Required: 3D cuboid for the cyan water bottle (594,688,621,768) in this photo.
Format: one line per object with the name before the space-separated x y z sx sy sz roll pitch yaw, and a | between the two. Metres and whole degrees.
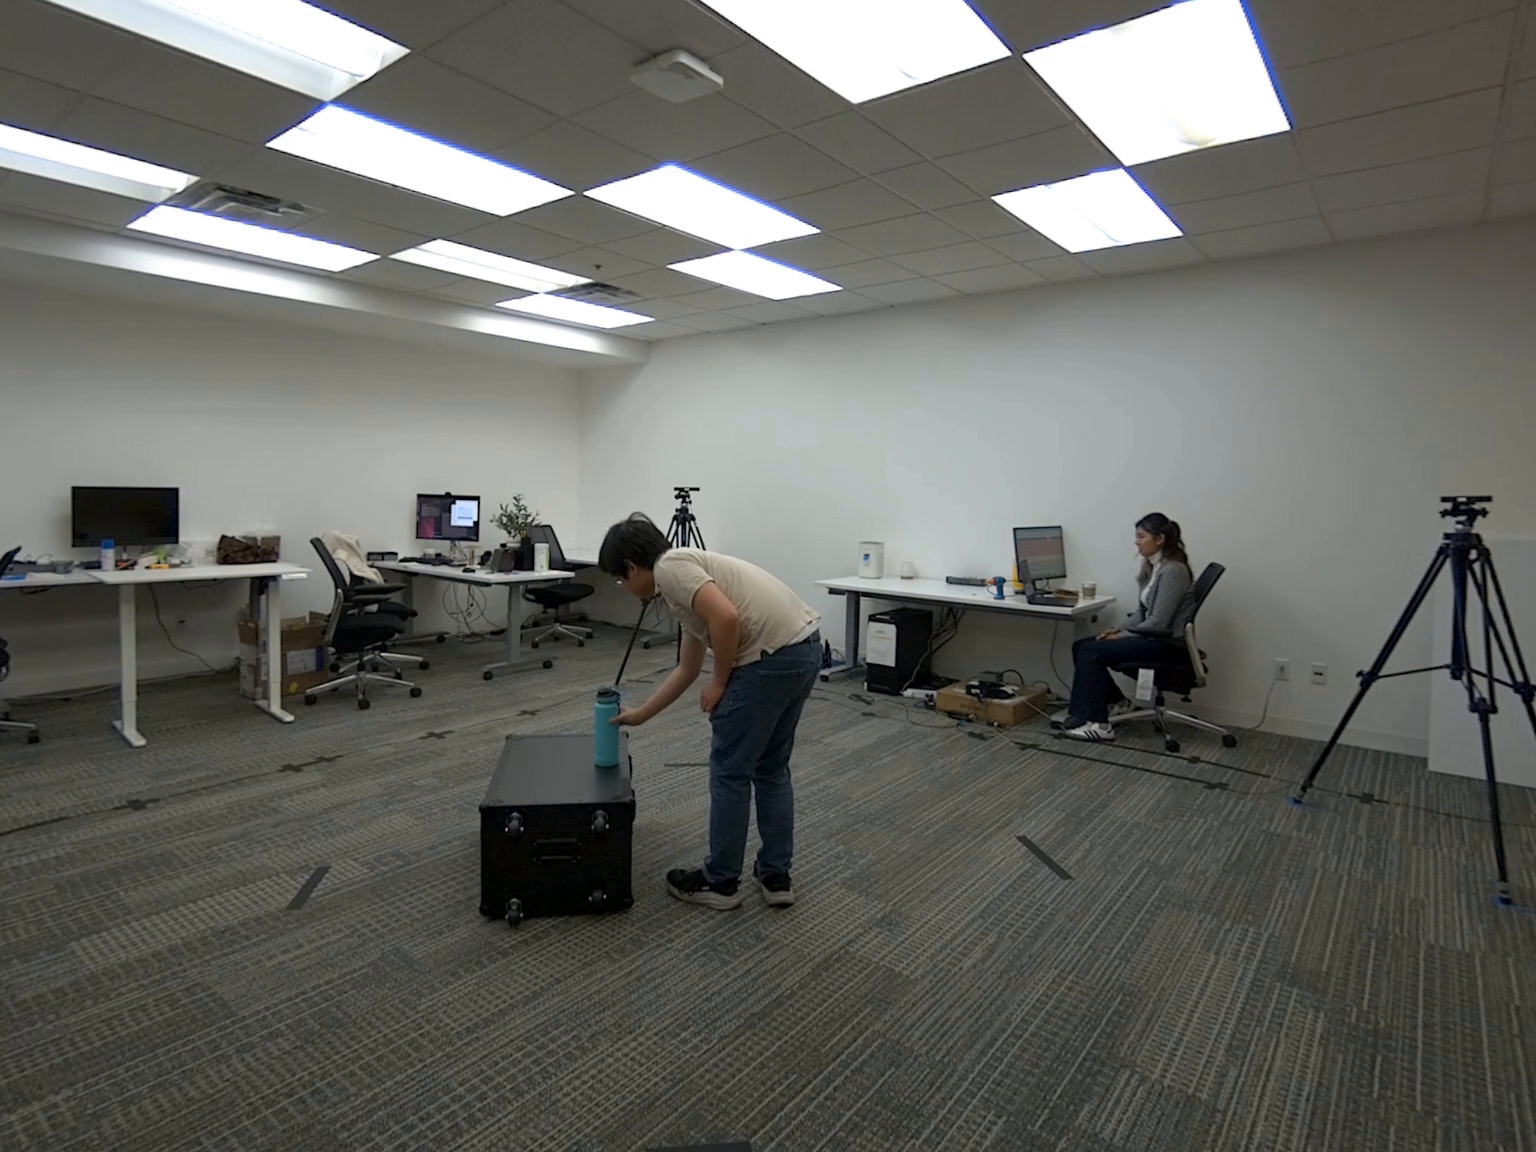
cyan water bottle | -0.608 0.546 3.129 0.092 0.283 0.092 0 2 -2
